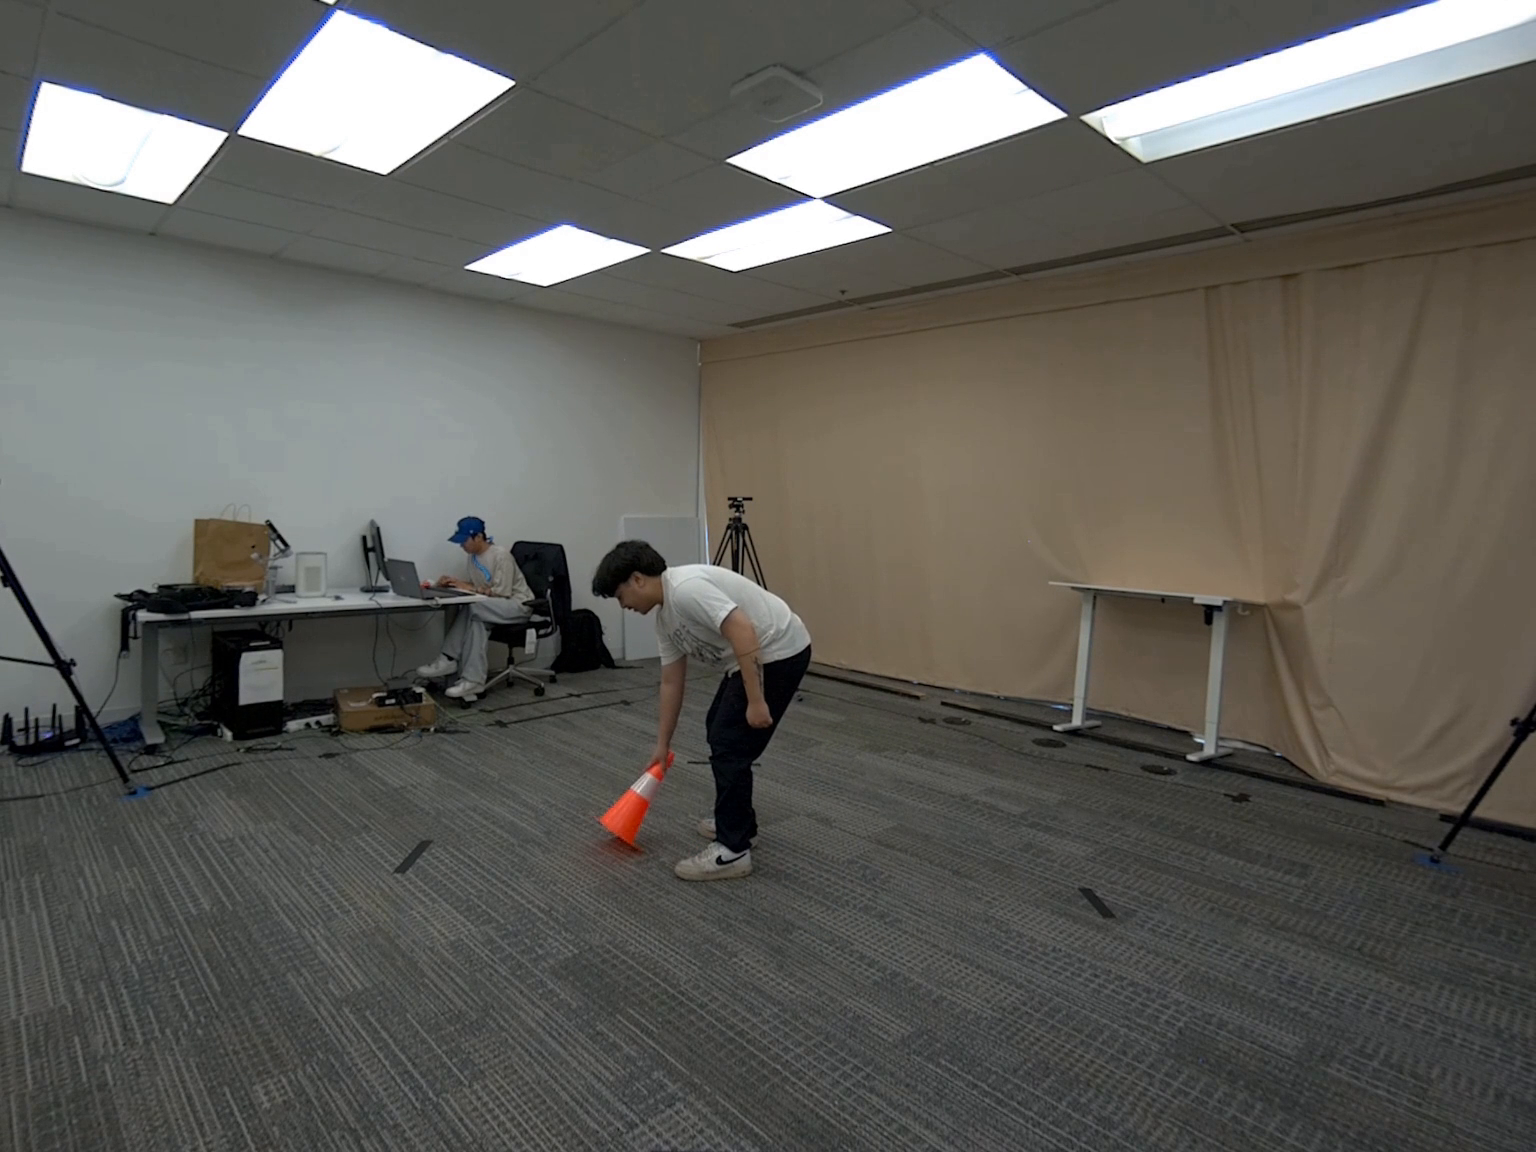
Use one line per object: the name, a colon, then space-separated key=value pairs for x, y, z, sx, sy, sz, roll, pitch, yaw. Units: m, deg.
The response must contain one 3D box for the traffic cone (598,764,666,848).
traffic cone: x=-0.509 y=0.869 z=3.381 sx=0.197 sy=0.384 sz=0.210 roll=44 pitch=-19 yaw=-31
